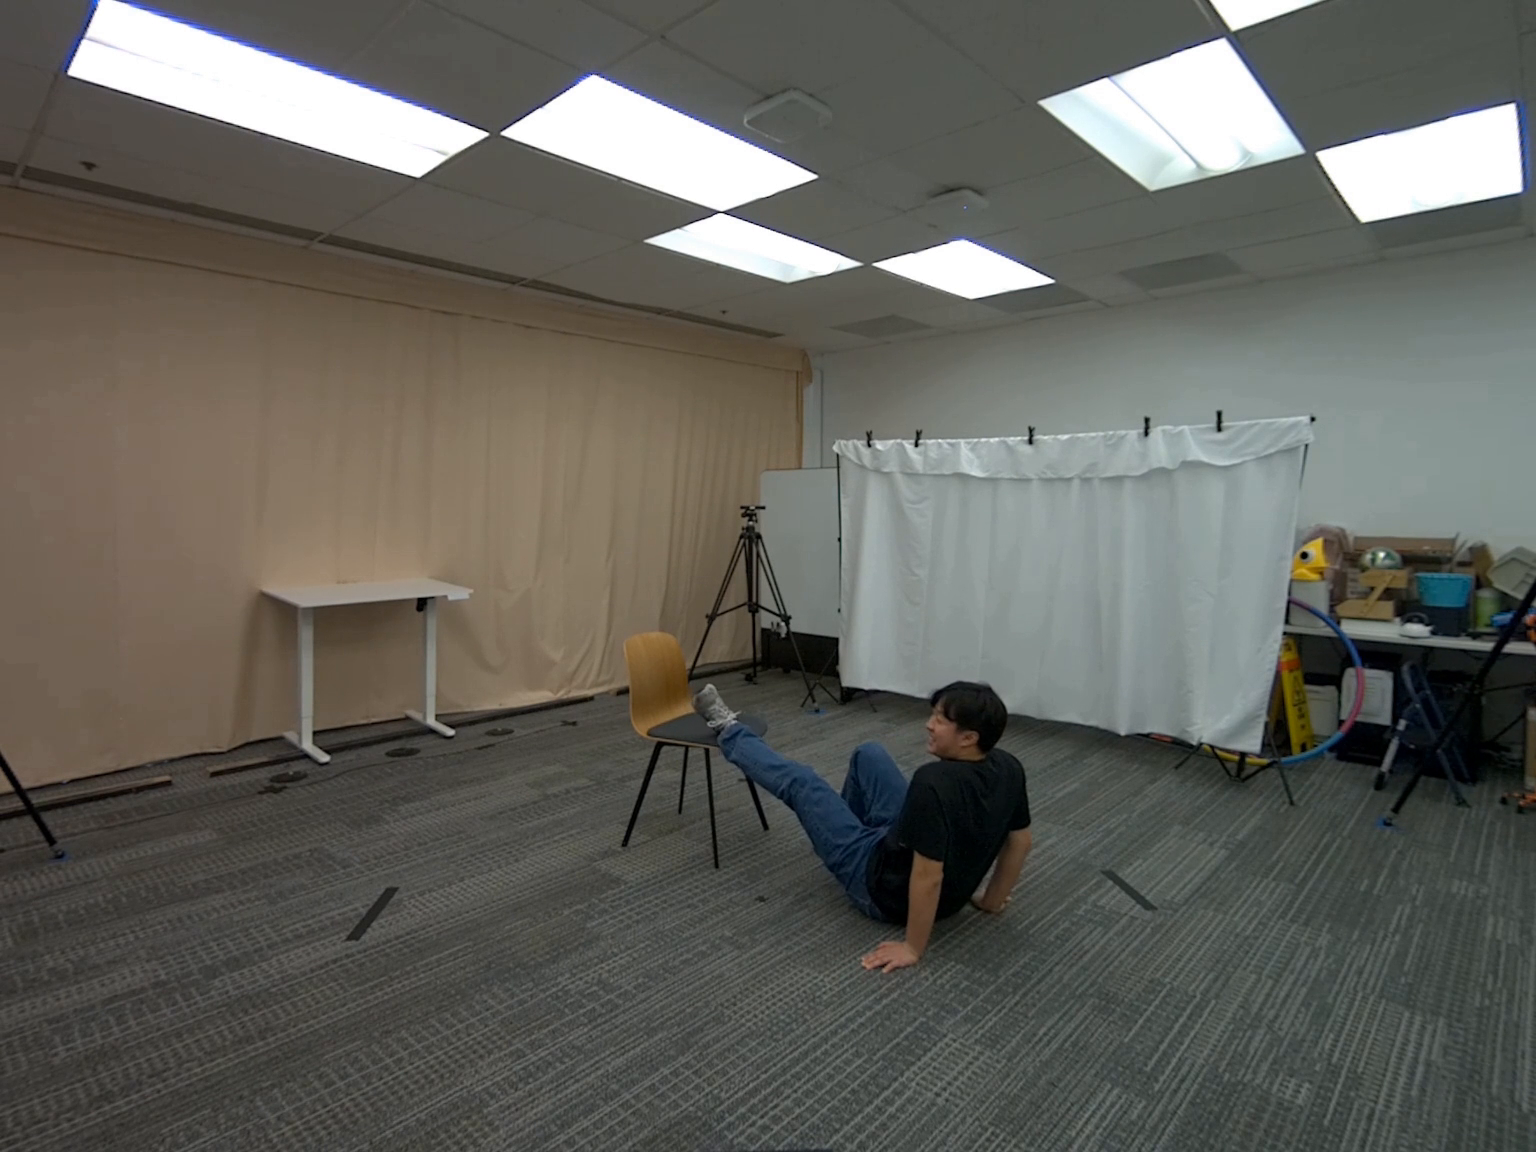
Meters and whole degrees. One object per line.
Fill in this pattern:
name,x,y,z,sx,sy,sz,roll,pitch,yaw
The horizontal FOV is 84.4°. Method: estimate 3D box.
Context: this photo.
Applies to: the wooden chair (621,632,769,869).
wooden chair,-0.295,0.676,3.502,0.537,0.877,0.466,-4,1,29
